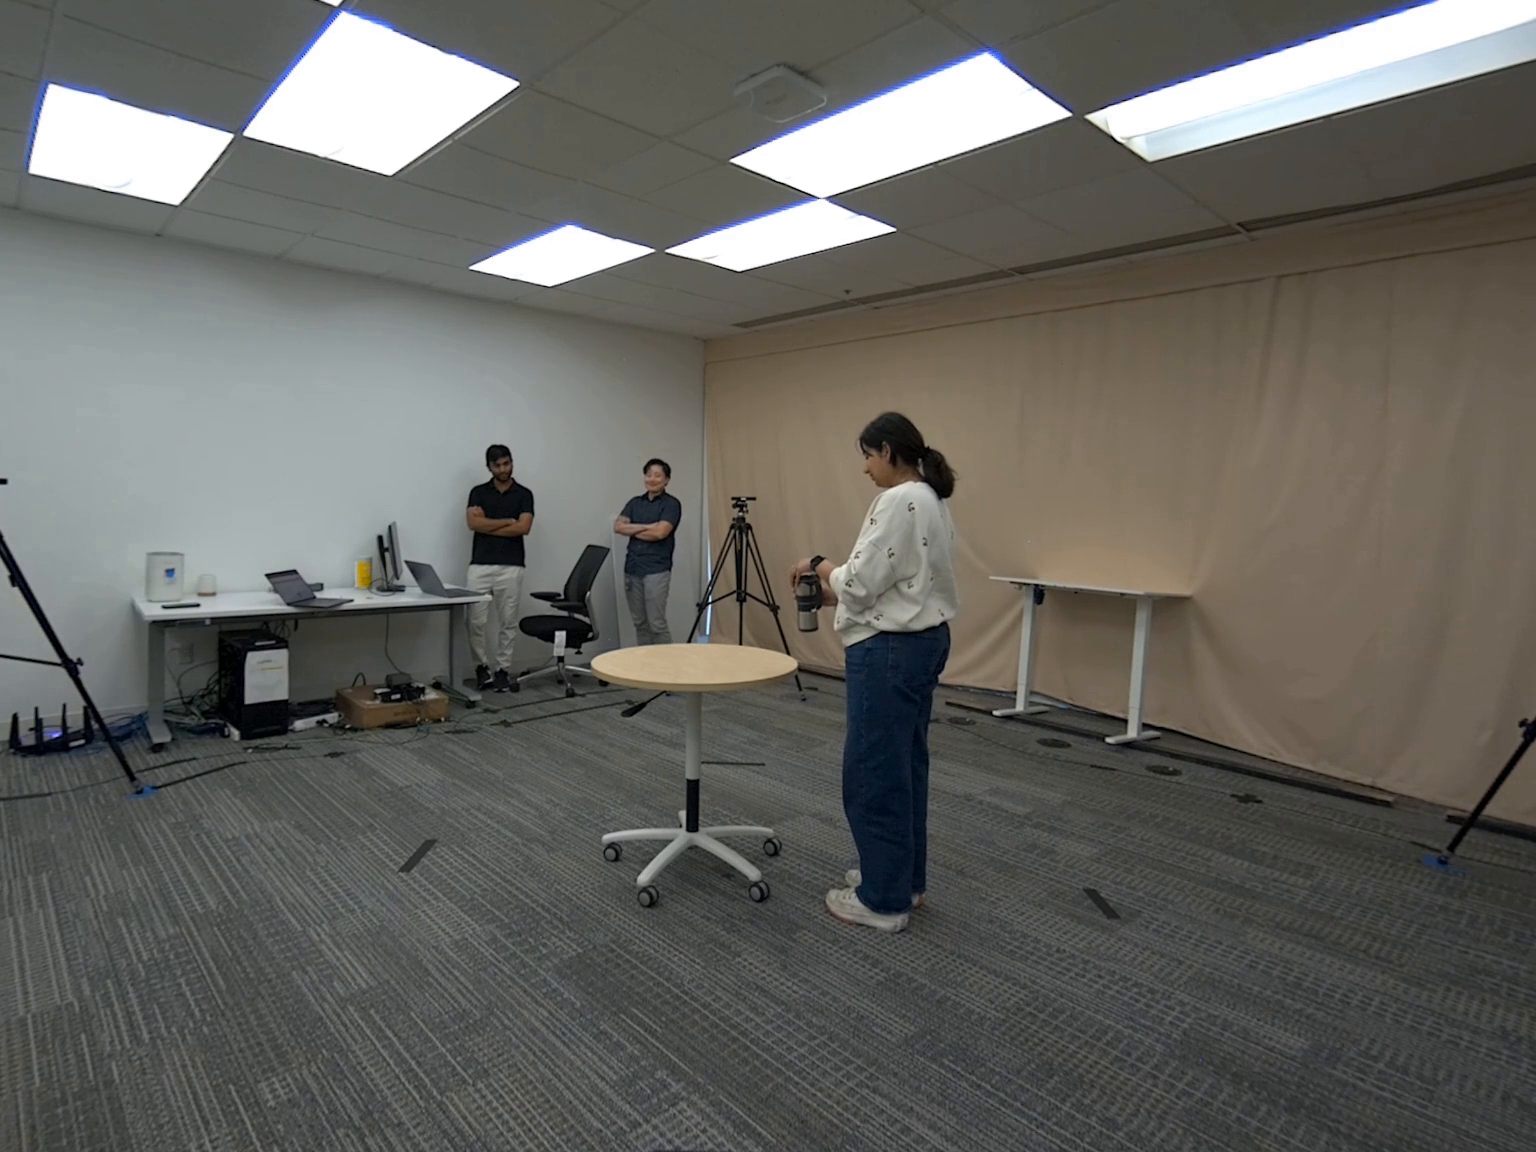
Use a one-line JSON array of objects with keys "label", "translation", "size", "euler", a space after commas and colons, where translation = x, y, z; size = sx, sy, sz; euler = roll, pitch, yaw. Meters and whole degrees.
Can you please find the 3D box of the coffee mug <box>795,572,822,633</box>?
[{"label": "coffee mug", "translation": [0.135, 0.095, 2.935], "size": [0.087, 0.202, 0.123], "euler": [-2, 7, -5]}]
